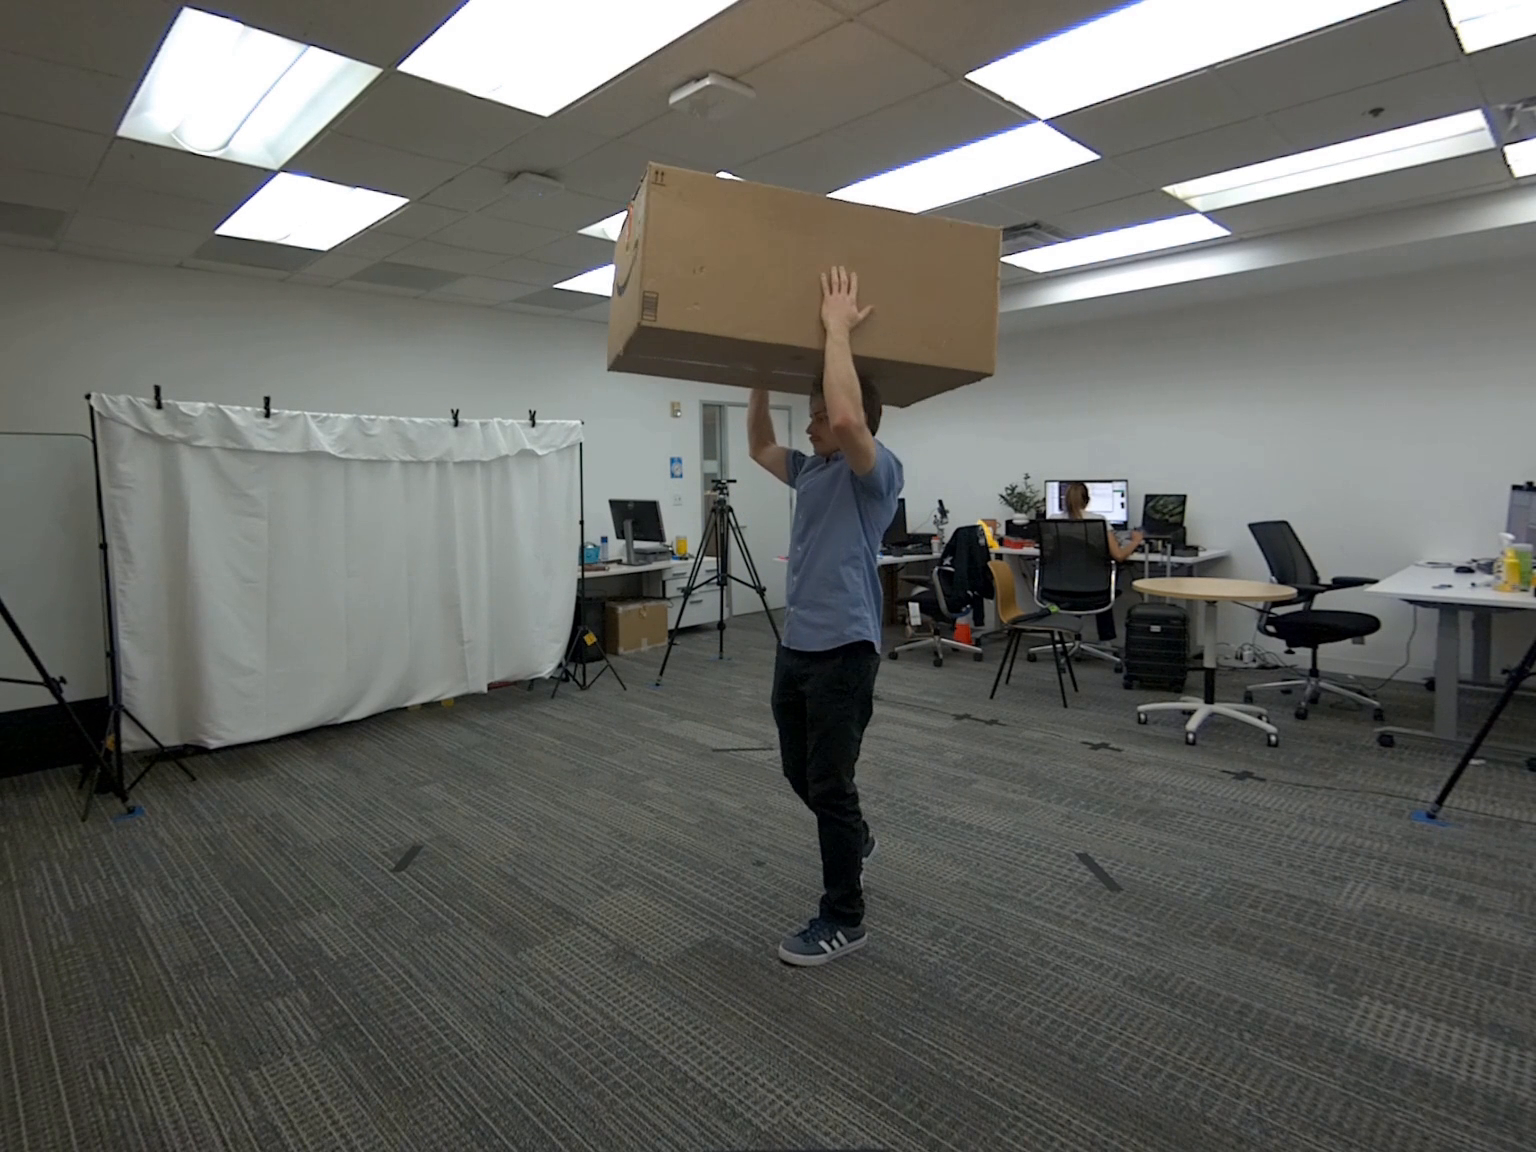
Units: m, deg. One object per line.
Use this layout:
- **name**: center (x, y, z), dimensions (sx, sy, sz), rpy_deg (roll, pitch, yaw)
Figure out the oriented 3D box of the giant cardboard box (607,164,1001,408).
- **giant cardboard box**: center (0.081, -0.815, 2.553), dimensions (1.010, 0.427, 0.586), rpy_deg (4, -1, -16)
